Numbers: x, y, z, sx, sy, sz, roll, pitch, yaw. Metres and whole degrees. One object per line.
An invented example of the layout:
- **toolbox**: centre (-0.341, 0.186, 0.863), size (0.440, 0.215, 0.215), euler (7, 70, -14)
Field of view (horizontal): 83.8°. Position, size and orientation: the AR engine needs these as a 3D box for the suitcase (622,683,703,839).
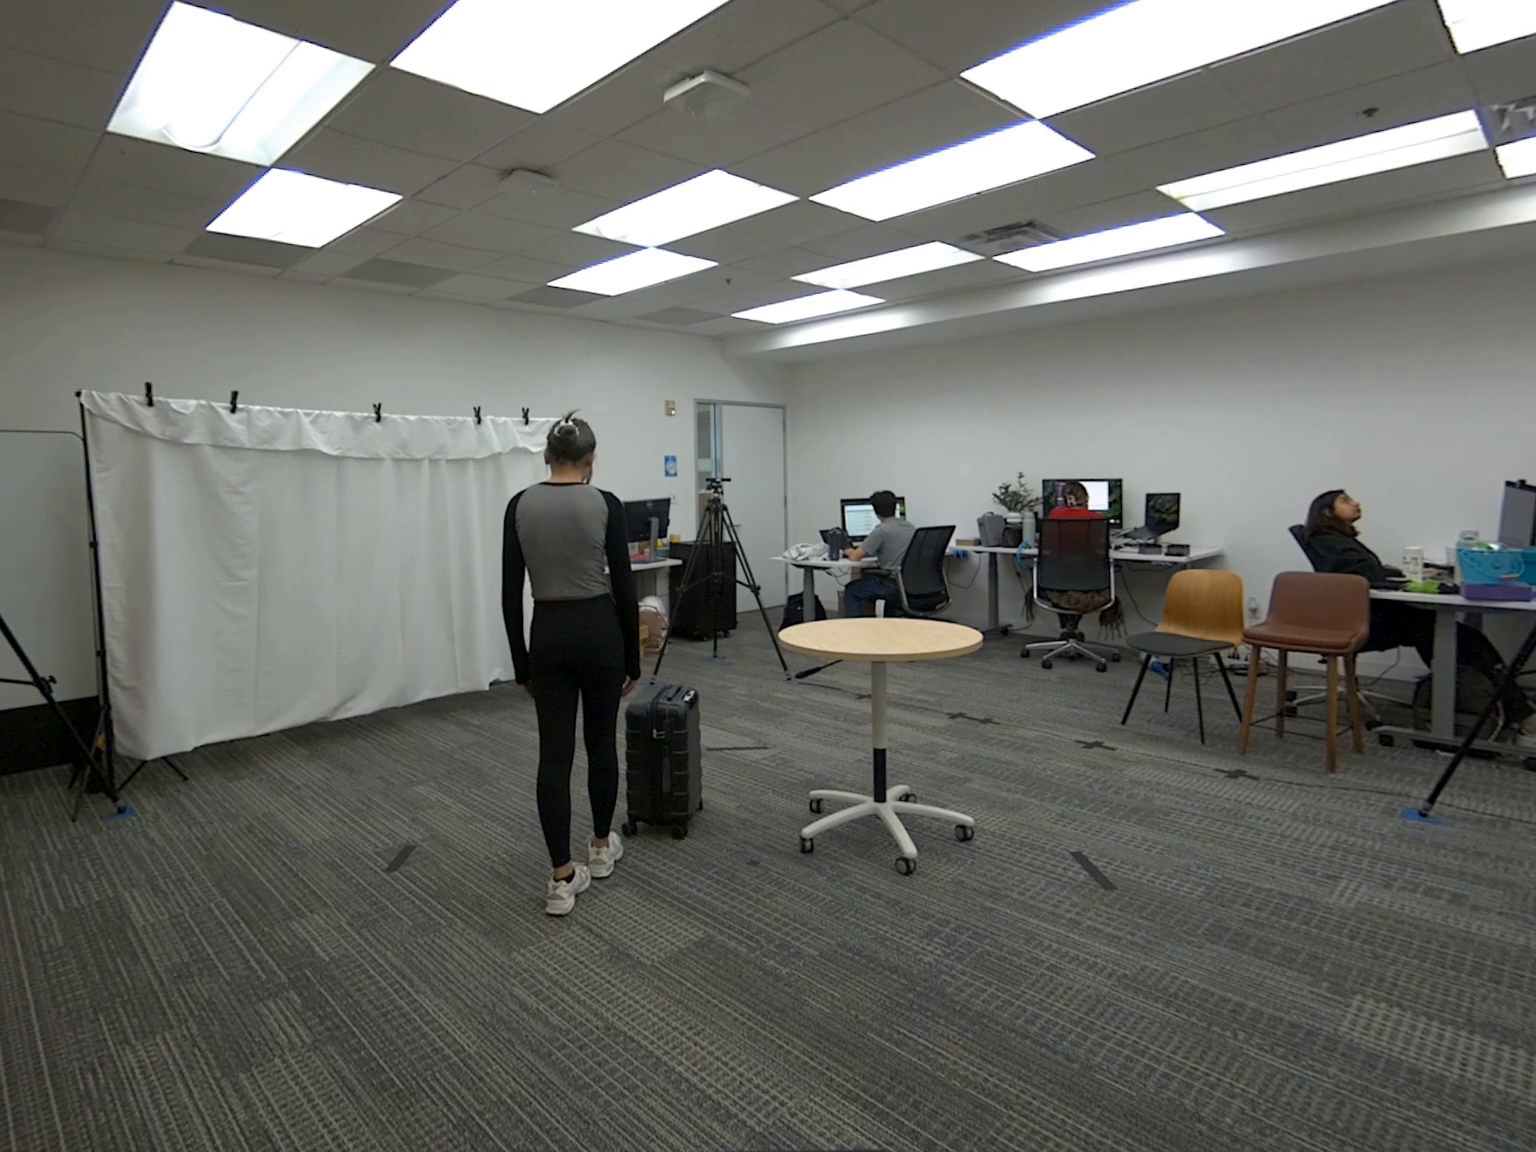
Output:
- **suitcase**: centre (-0.425, 0.739, 3.473), size (0.250, 0.547, 0.374), euler (-2, 5, 6)
